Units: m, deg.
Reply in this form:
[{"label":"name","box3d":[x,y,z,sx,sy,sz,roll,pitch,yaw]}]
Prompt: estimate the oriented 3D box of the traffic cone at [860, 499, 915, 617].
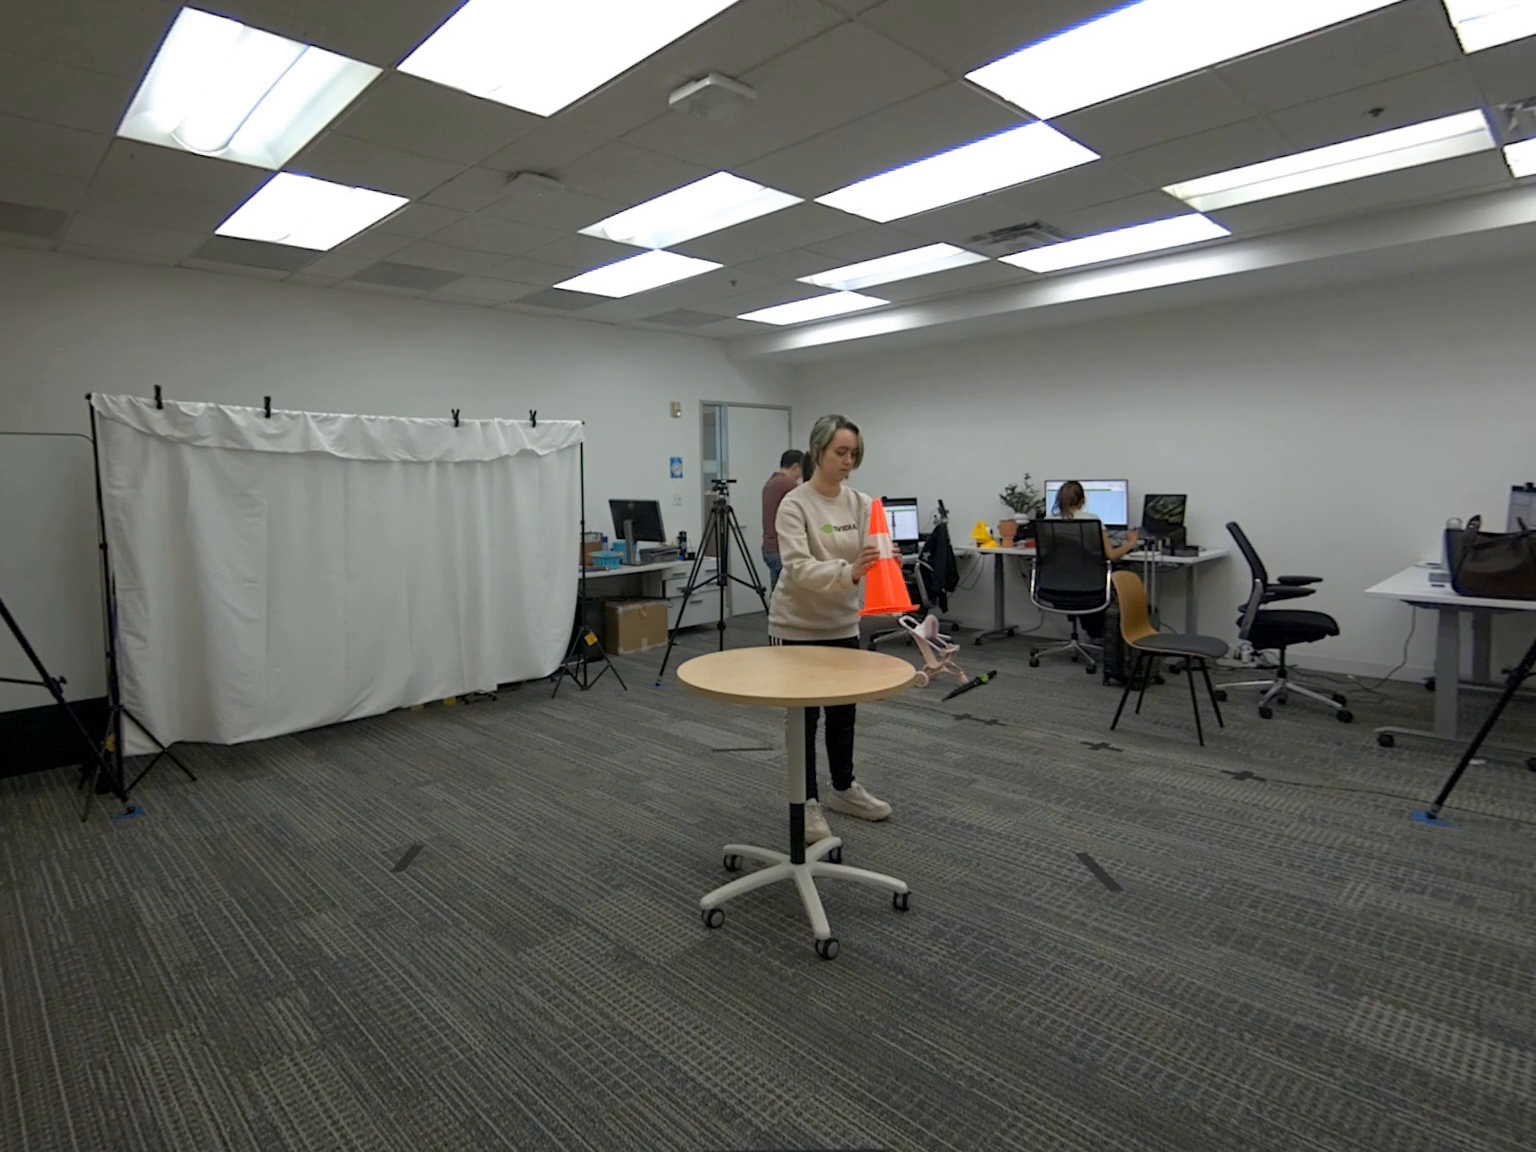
[{"label":"traffic cone","box3d":[0.386,-0.066,2.877,0.205,0.388,0.201,-9,-10,9]}]
